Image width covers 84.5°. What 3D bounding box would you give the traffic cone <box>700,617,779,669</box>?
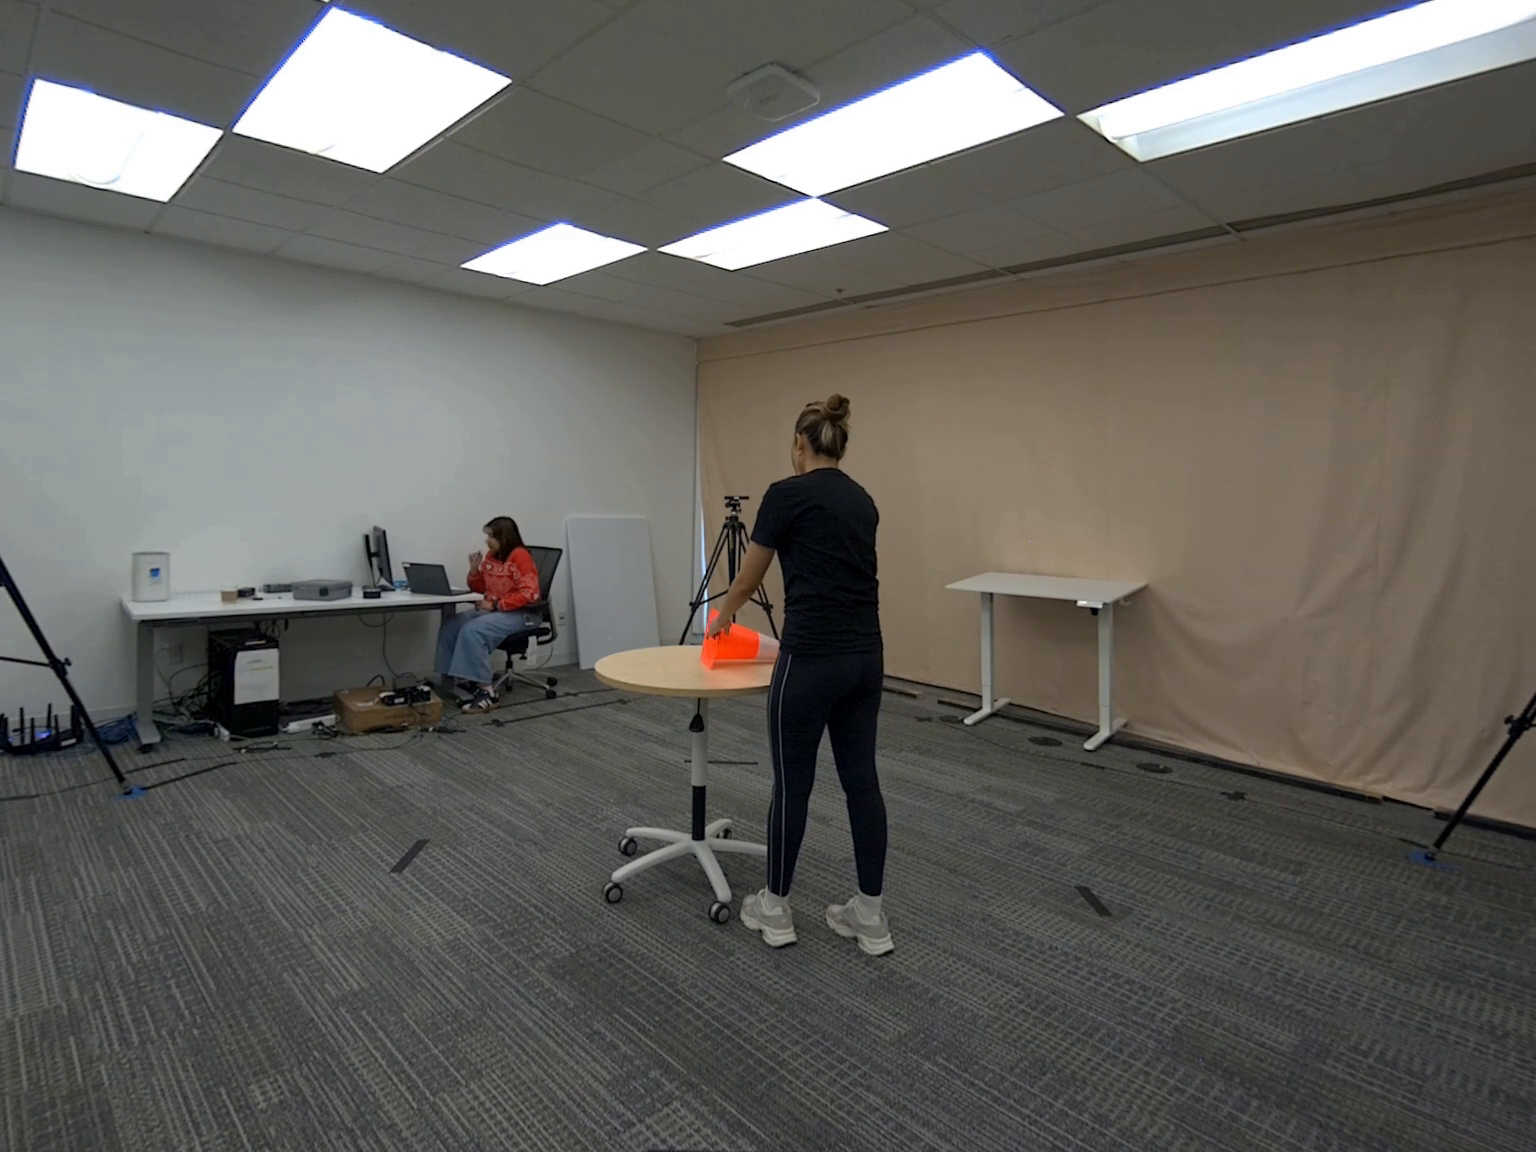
[{"bbox_3d":[-0.038,0.272,3.095,0.378,0.205,0.206,14,1,-16],"label":"traffic cone"}]
